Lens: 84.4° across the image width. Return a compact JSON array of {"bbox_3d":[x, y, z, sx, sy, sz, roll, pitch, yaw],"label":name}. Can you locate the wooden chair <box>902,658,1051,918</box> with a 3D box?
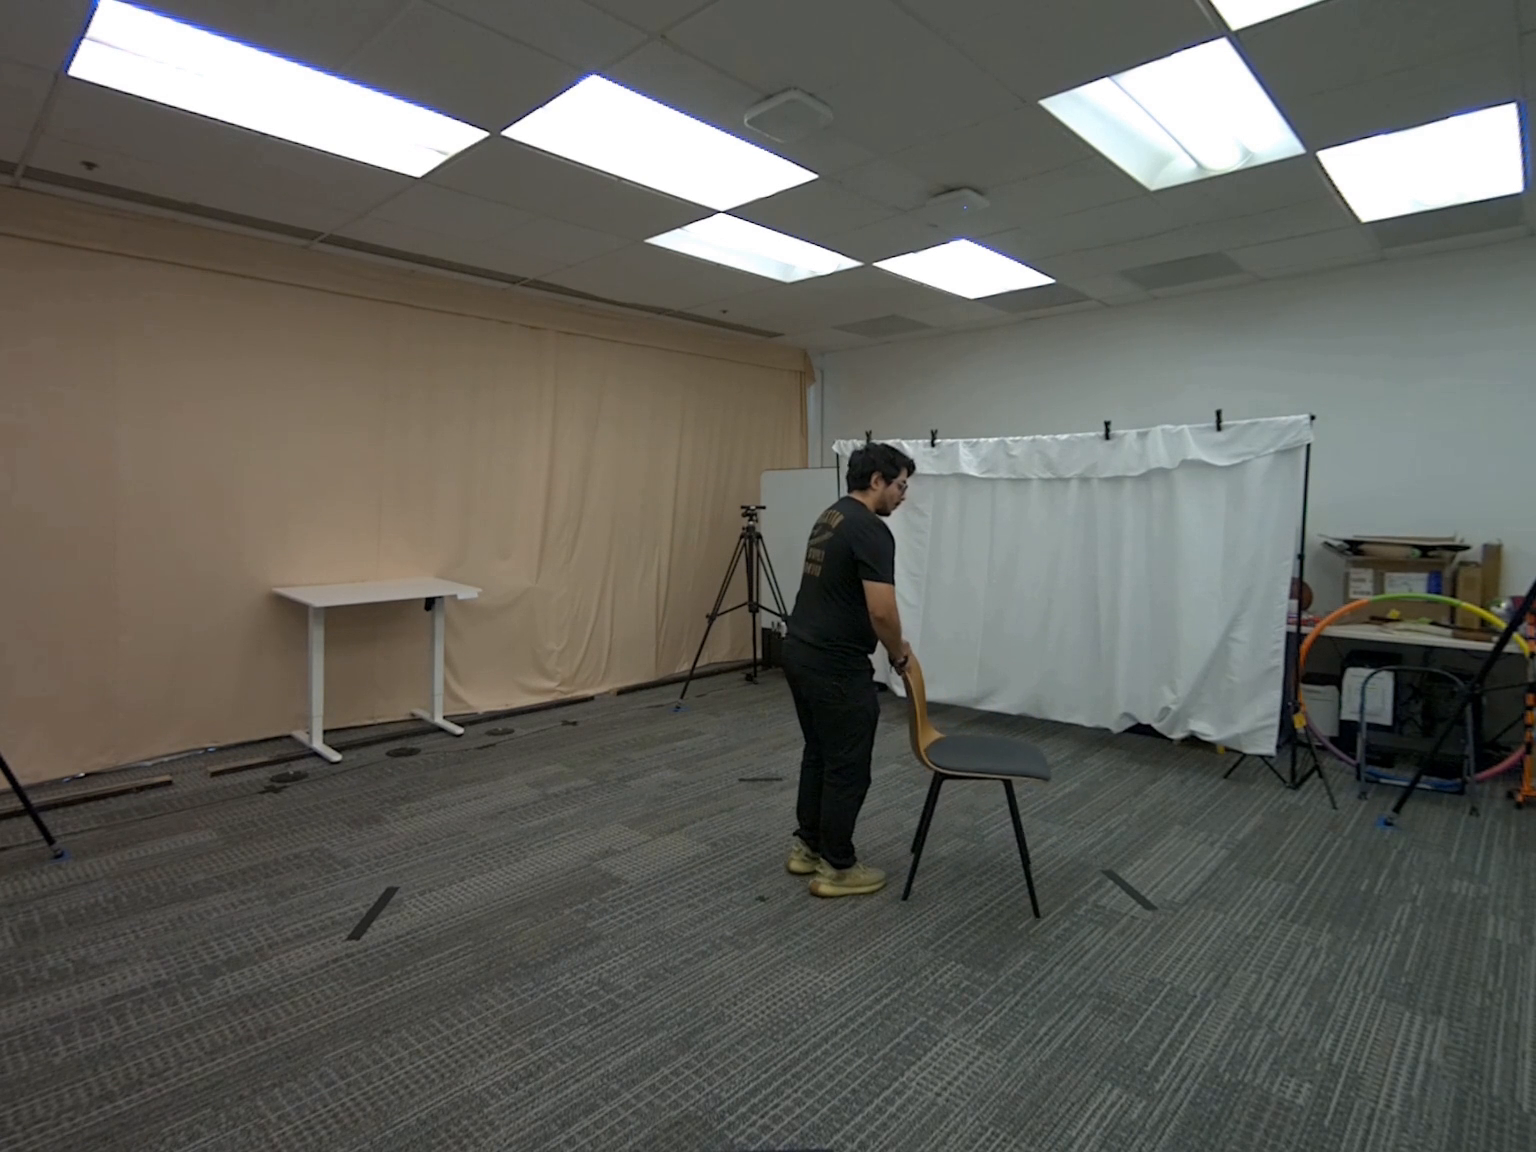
[{"bbox_3d":[0.757,0.705,3.084,0.532,0.876,0.471,-4,2,15],"label":"wooden chair"}]
